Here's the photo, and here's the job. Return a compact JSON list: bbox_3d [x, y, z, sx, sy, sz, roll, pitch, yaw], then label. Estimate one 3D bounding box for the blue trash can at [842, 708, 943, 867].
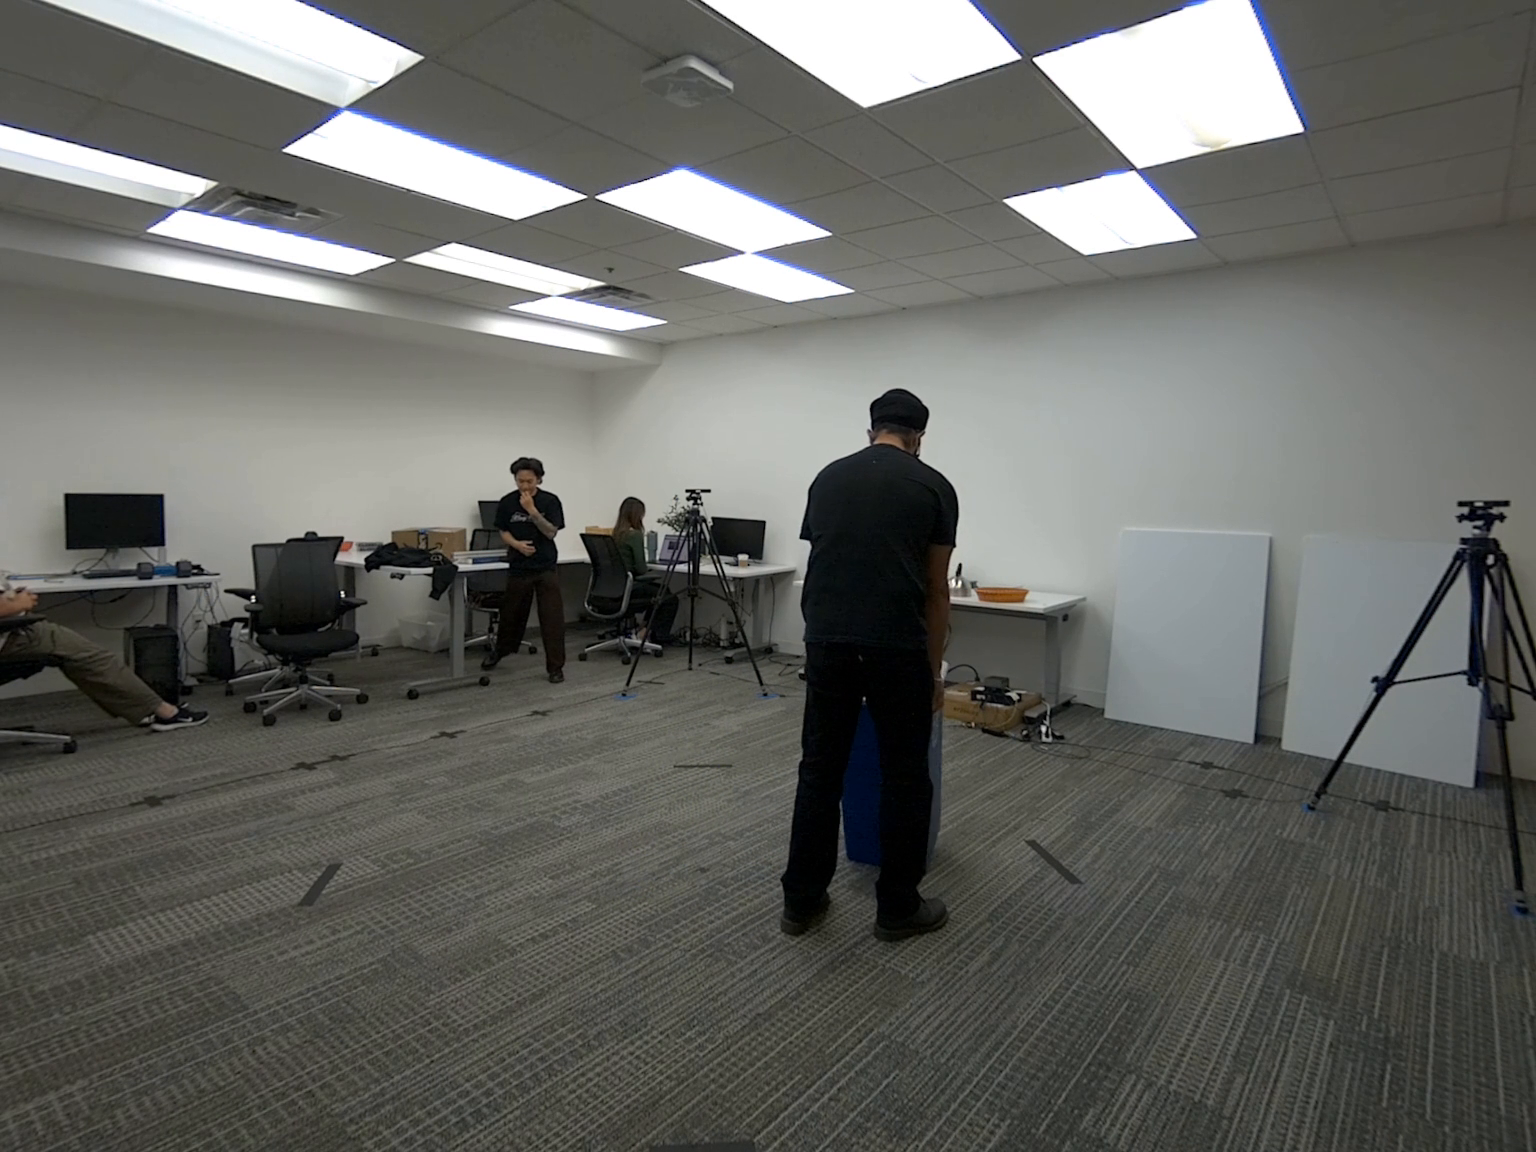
[{"bbox_3d":[0.457,0.698,3.177,0.387,0.701,0.371,3,19,23],"label":"blue trash can"}]
